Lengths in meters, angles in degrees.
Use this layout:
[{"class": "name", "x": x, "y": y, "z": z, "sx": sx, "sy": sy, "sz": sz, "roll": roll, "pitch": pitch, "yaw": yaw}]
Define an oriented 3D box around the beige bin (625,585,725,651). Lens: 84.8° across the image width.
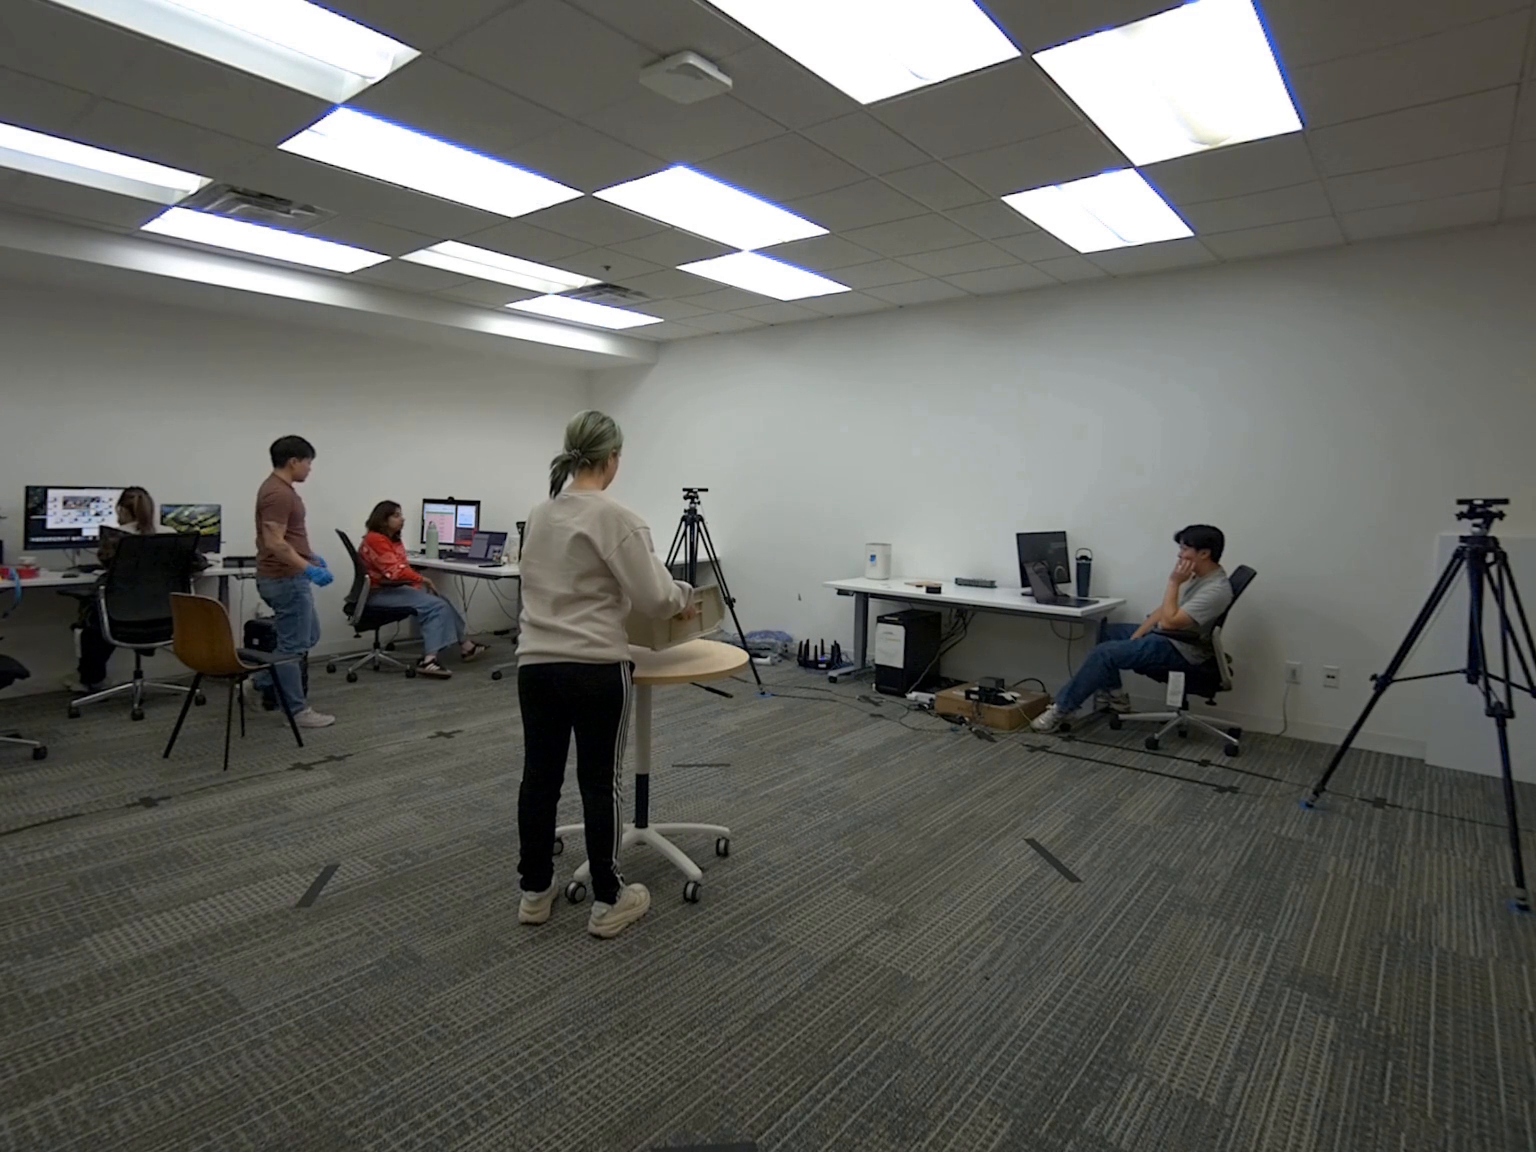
[{"class": "beige bin", "x": -0.442, "y": 0.117, "z": 3.078, "sx": 0.436, "sy": 0.187, "sz": 0.368, "roll": 5, "pitch": 13, "yaw": 38}]
